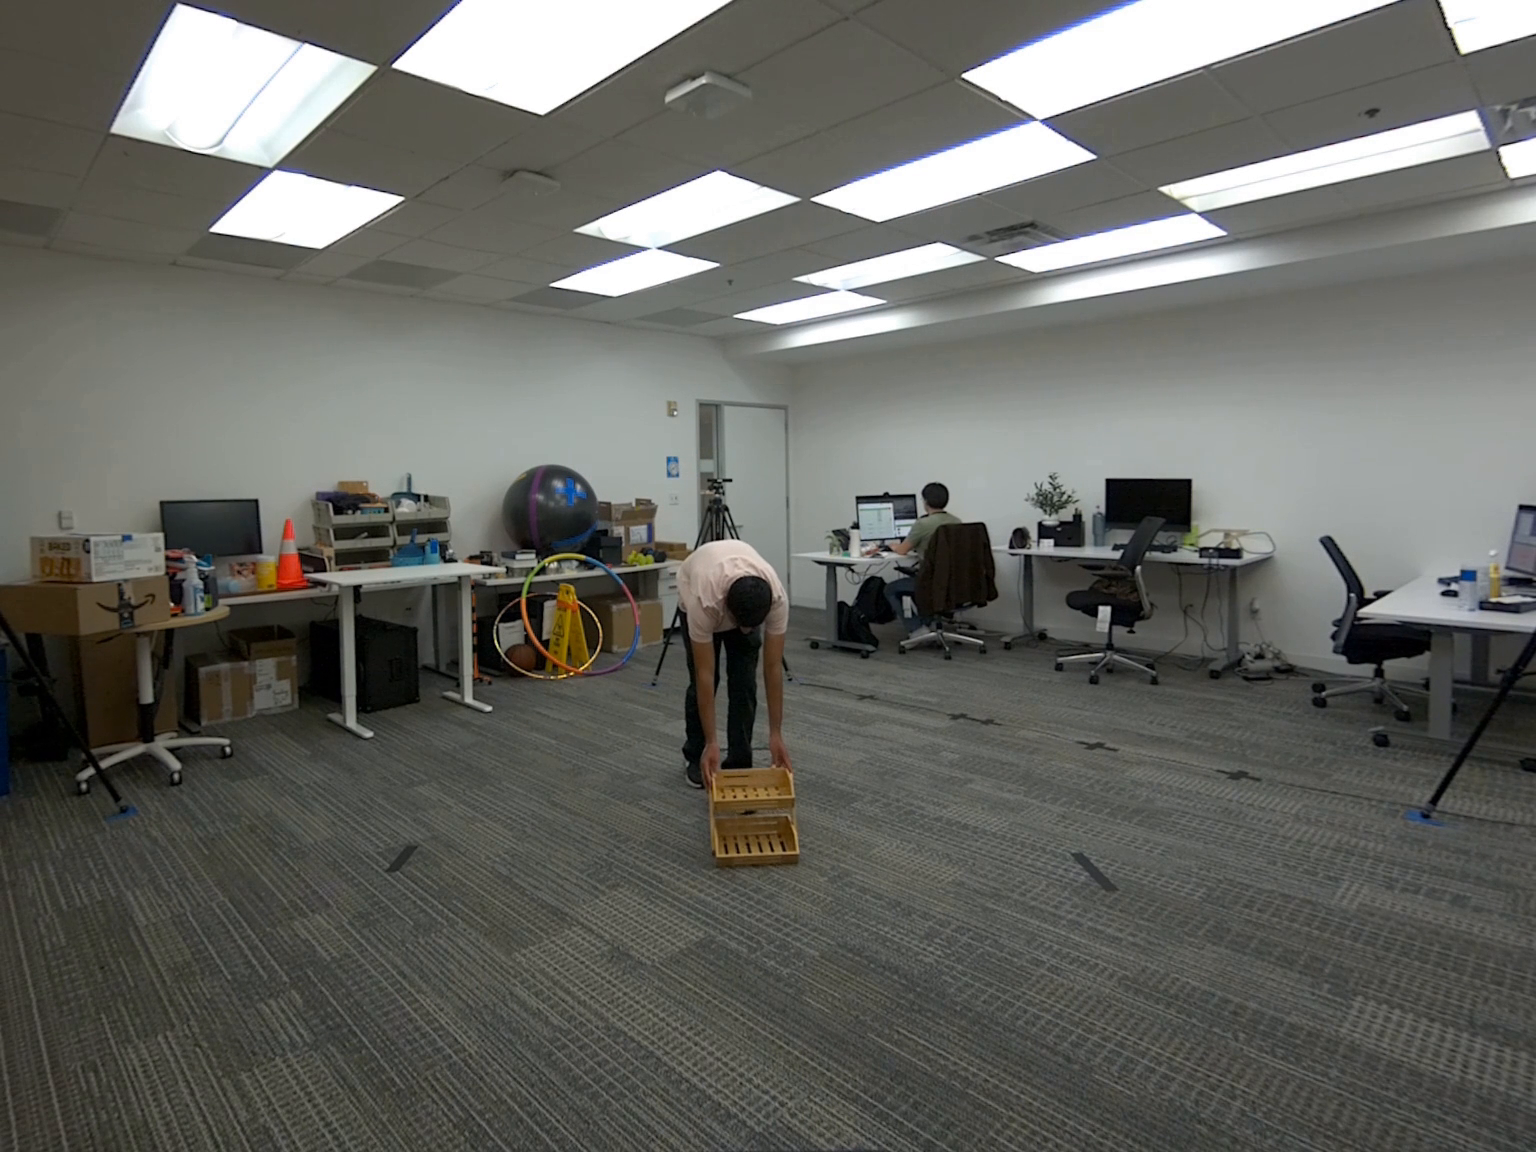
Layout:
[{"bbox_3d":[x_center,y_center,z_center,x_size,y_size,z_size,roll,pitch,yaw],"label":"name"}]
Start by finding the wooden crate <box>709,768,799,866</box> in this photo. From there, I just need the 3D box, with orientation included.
[{"bbox_3d":[-0.051,0.909,3.211,0.323,0.272,0.305,-1,6,-6],"label":"wooden crate"}]
